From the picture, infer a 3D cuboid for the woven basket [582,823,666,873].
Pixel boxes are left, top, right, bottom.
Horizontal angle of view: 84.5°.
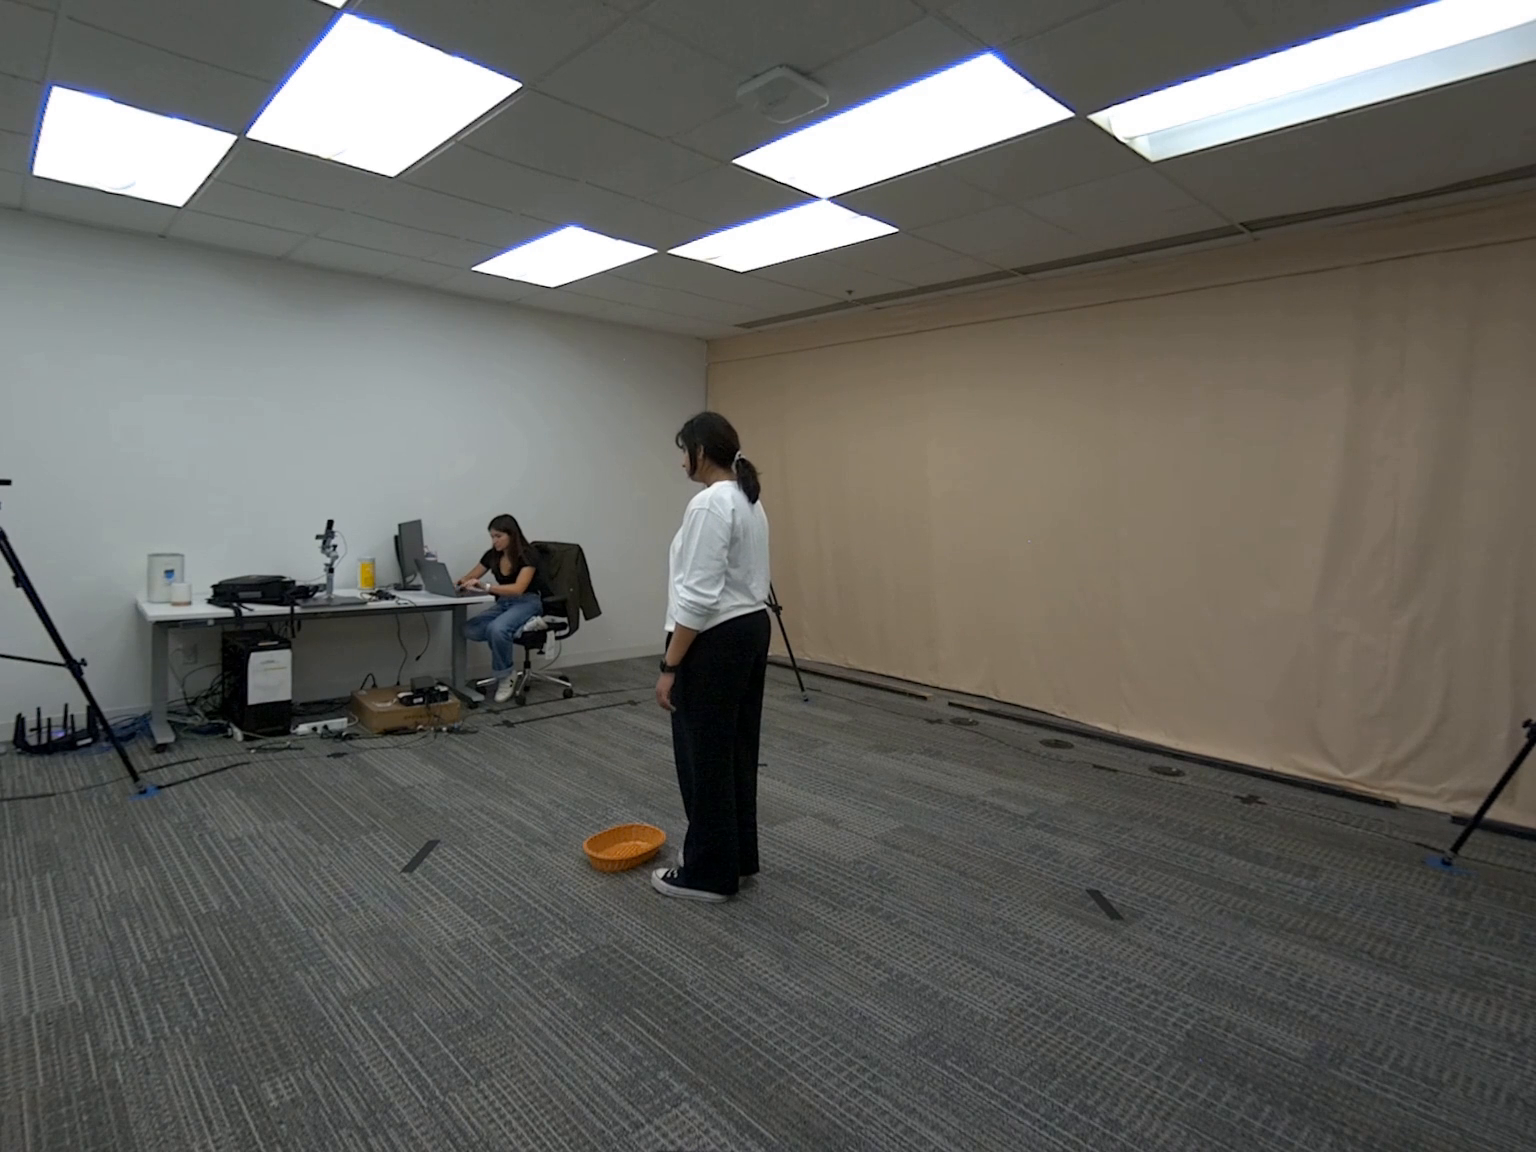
[{"bbox_3d":[-0.550,1.043,3.235,0.259,0.073,0.343,6,7,35],"label":"woven basket"}]
